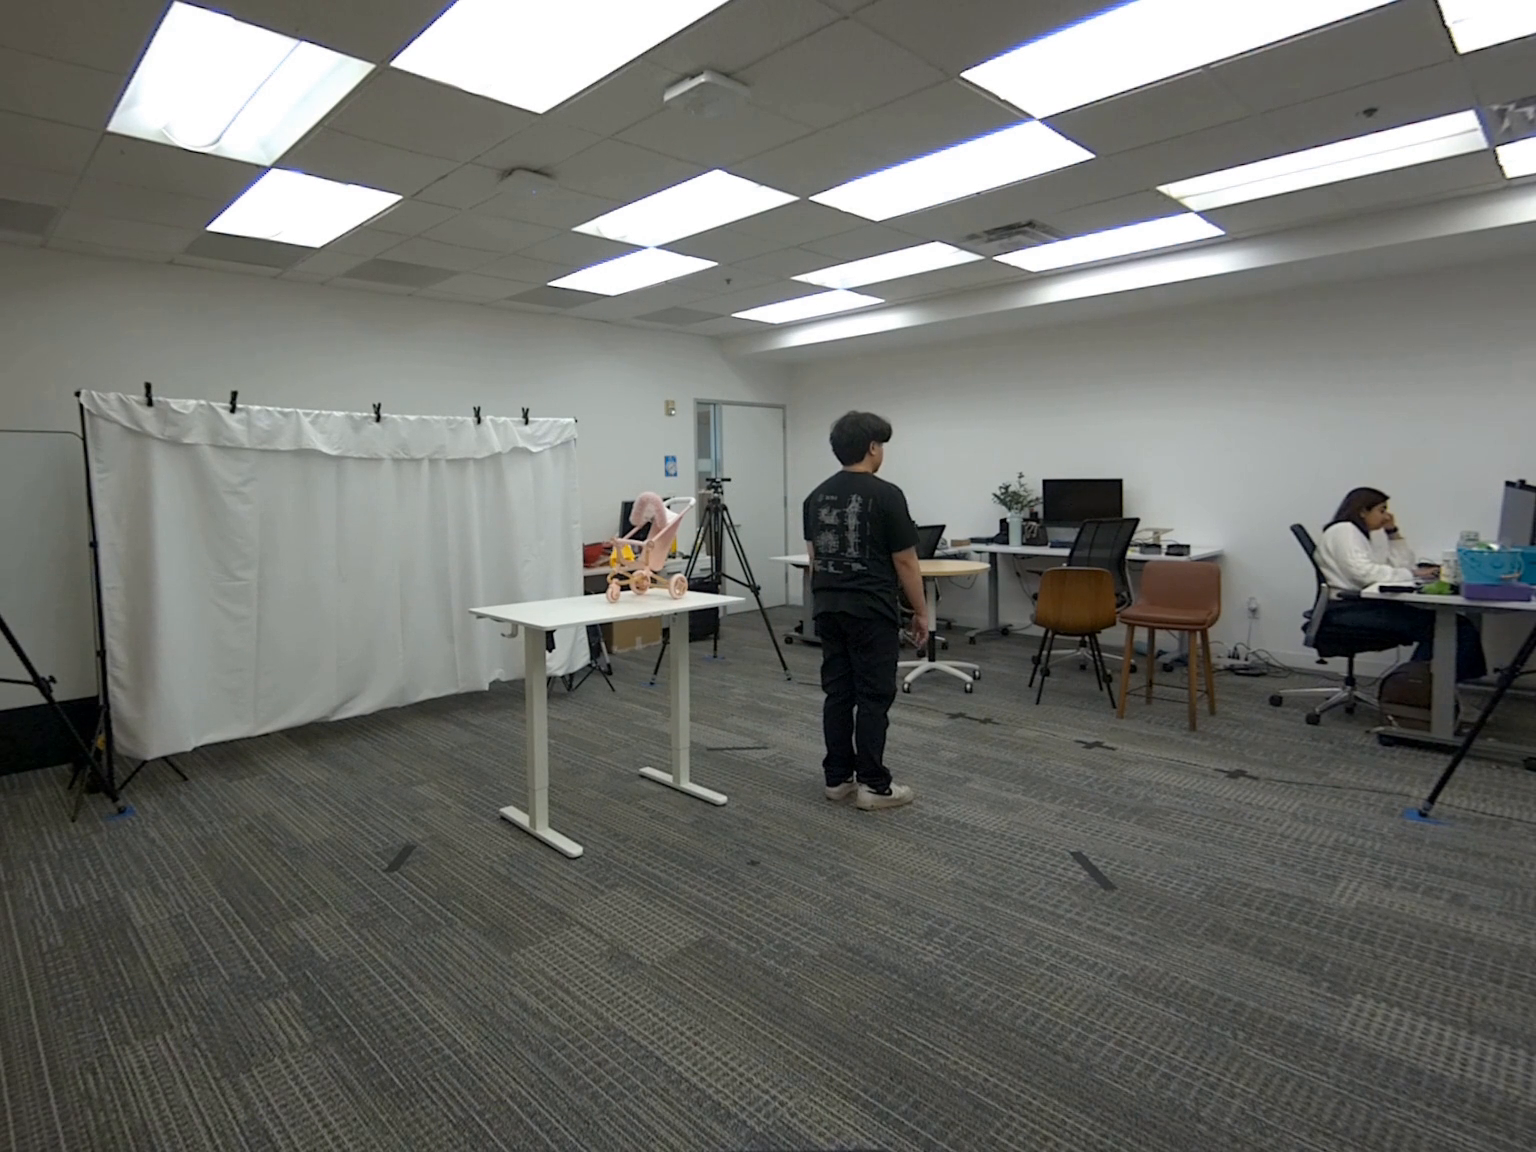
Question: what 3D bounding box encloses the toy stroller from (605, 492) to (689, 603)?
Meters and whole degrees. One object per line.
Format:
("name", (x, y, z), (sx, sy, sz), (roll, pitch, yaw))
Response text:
("toy stroller", (-0.533, -0.128, 3.740), (0.329, 0.537, 0.290), (16, -9, -43))
